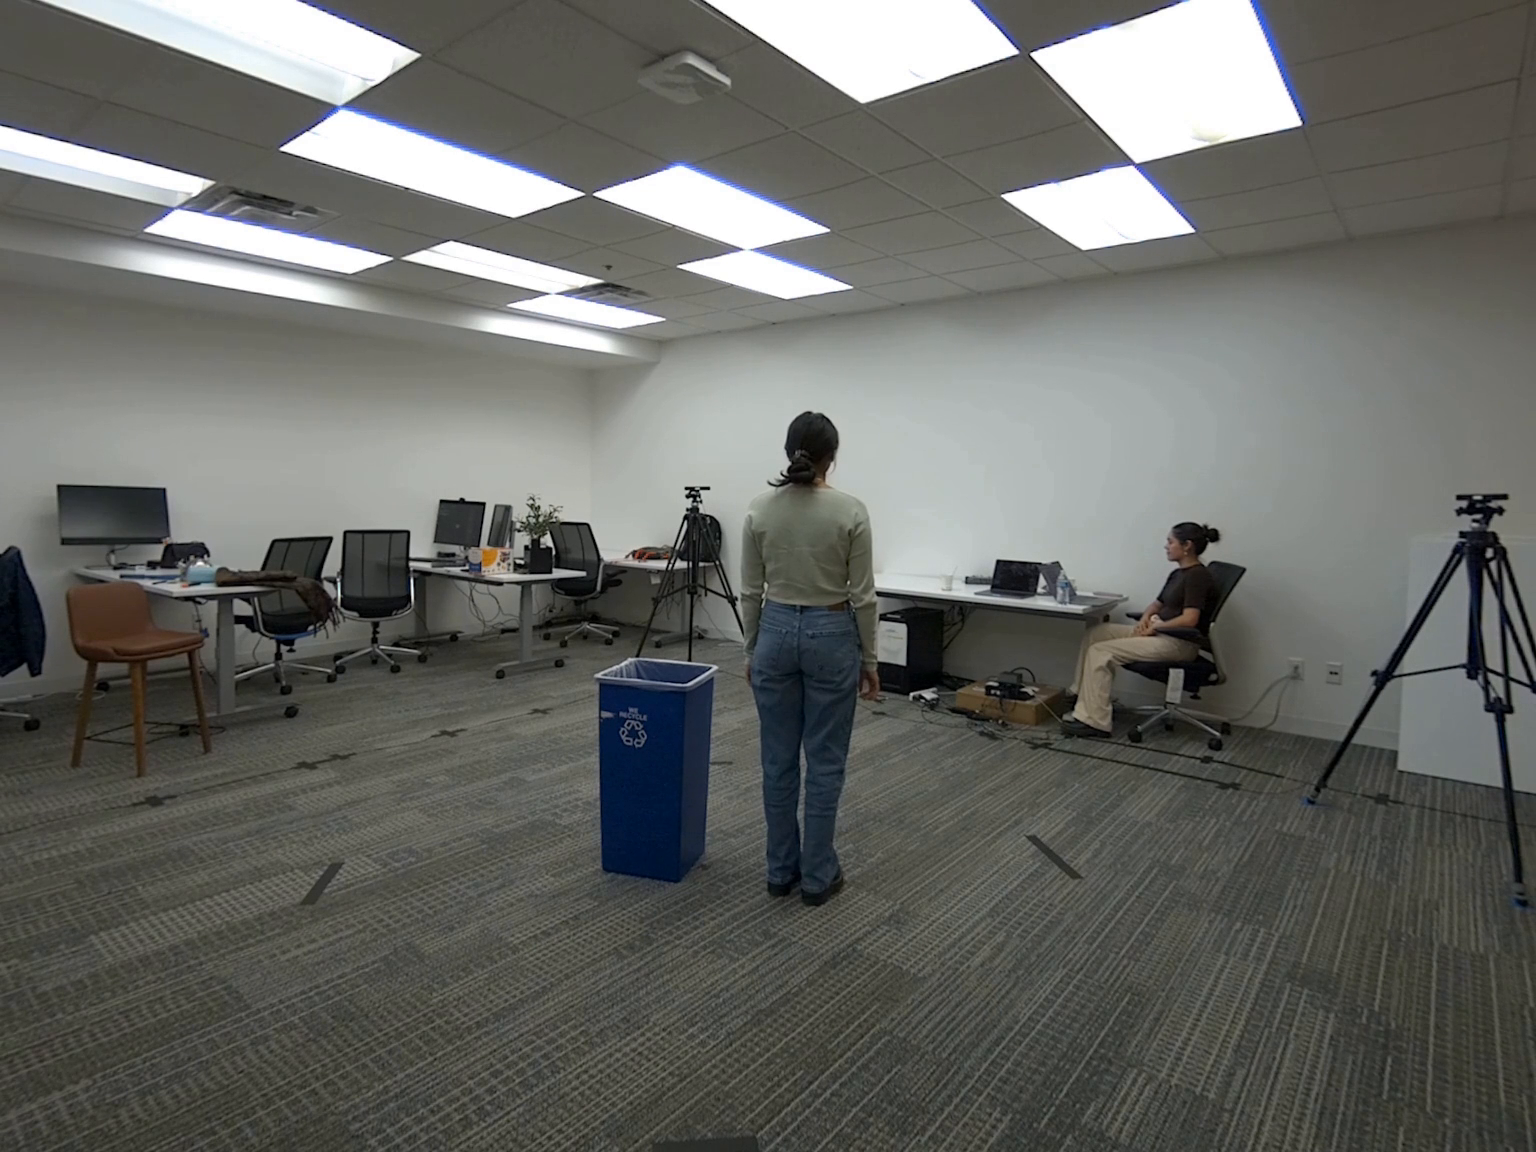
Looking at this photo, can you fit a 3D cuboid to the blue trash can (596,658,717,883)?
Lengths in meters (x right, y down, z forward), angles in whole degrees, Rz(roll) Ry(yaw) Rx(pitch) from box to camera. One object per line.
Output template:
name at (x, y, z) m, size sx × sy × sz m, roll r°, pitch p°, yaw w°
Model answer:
blue trash can at (-0.418, 0.701, 3.151) m, size 0.381 × 0.711 × 0.372 m, roll 2°, pitch 3°, yaw 16°
